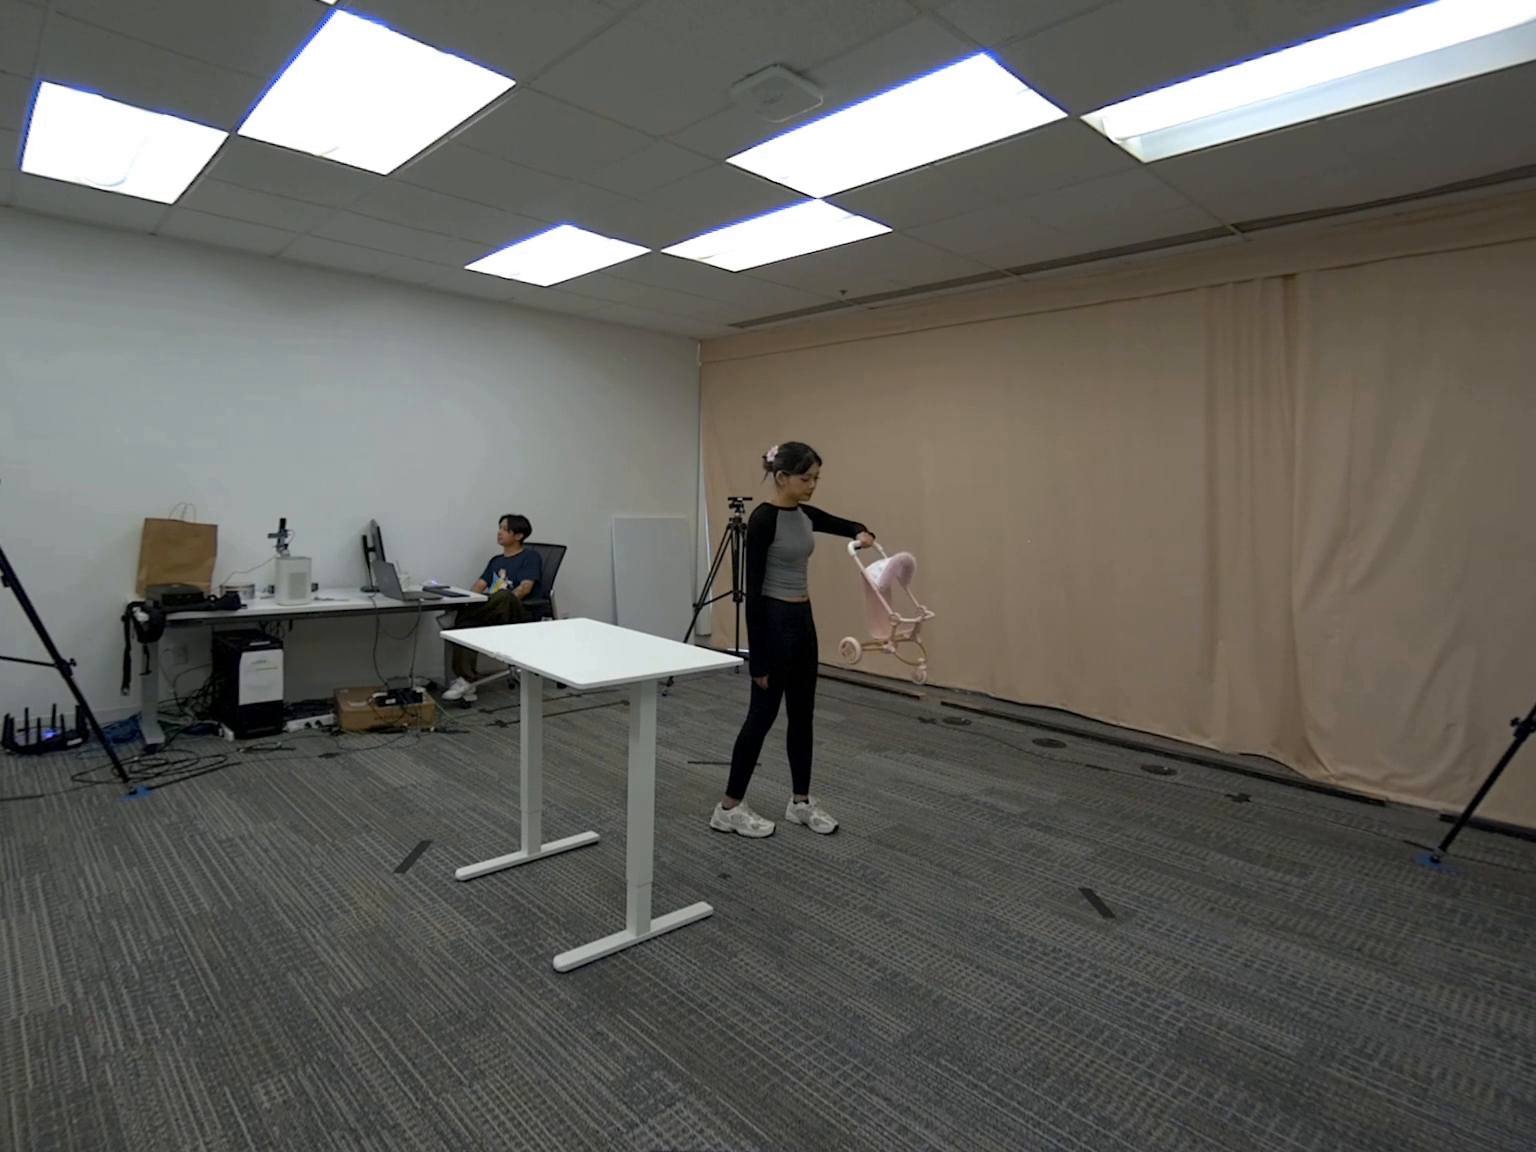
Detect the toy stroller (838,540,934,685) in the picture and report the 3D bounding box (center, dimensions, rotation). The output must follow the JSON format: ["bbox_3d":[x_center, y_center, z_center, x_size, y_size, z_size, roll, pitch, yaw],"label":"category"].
[{"bbox_3d":[0.481,0.141,3.296,0.275,0.532,0.350,-6,9,-43],"label":"toy stroller"}]
